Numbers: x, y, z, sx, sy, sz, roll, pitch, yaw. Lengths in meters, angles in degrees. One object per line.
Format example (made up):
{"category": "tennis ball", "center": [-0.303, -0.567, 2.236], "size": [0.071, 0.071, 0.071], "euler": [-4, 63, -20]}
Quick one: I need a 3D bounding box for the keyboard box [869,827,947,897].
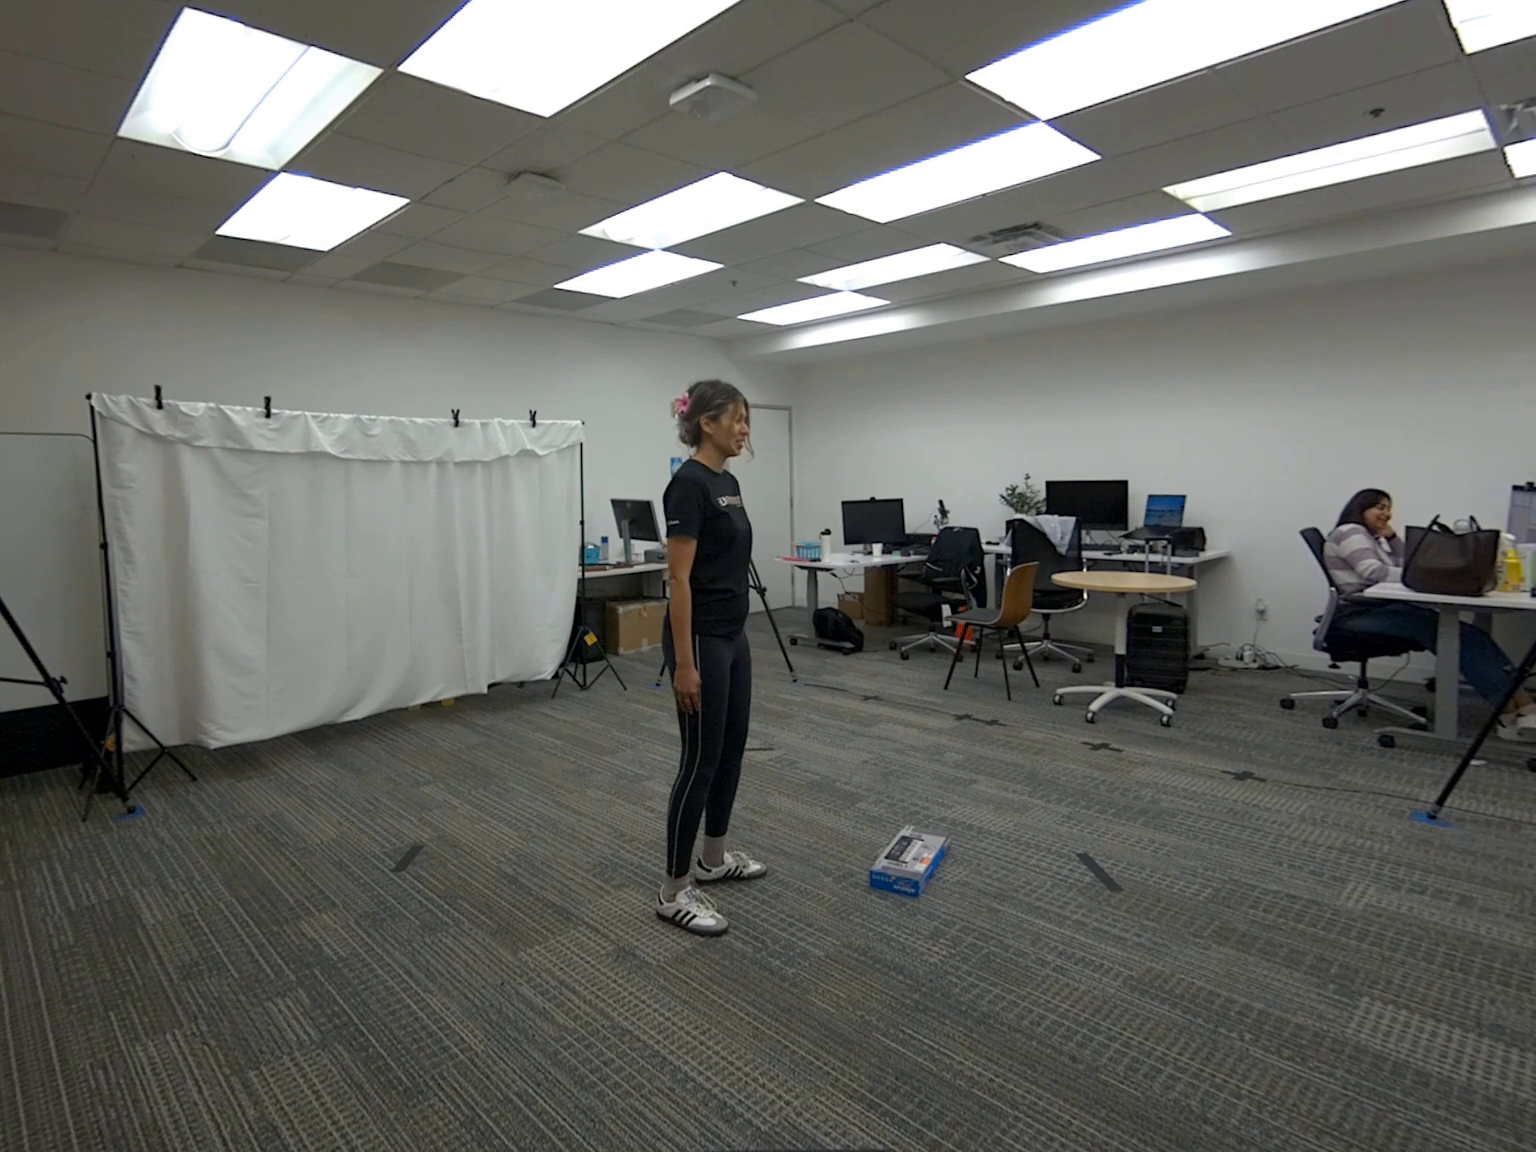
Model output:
{"category": "keyboard box", "center": [0.521, 1.012, 3.063], "size": [0.180, 0.059, 0.428], "euler": [2, 7, 26]}
